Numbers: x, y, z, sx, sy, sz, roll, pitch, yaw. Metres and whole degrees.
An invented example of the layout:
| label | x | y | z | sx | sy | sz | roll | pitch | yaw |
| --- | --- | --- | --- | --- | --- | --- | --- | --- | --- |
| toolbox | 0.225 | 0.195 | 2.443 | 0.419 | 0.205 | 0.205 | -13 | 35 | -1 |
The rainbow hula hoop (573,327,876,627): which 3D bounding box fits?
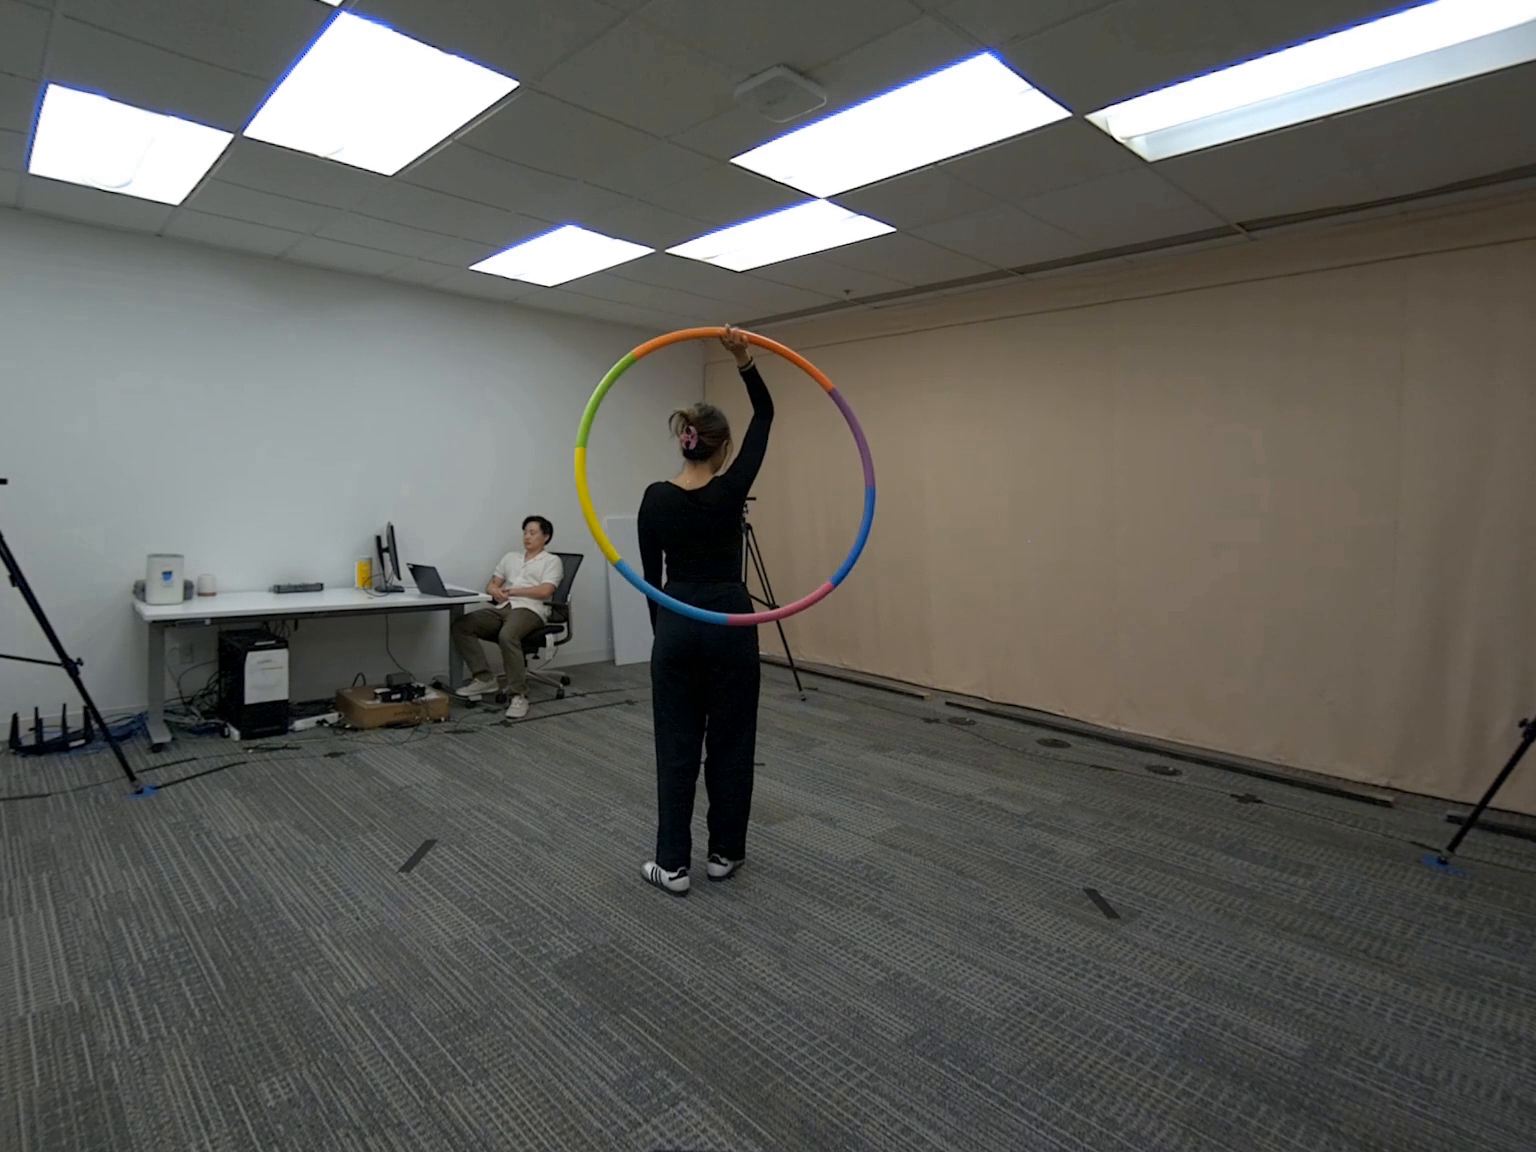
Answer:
| label | x | y | z | sx | sy | sz | roll | pitch | yaw |
| --- | --- | --- | --- | --- | --- | --- | --- | --- | --- |
| rainbow hula hoop | -0.124 | -0.333 | 2.662 | 0.972 | 0.997 | 0.052 | 0 | -15 | -17 |
